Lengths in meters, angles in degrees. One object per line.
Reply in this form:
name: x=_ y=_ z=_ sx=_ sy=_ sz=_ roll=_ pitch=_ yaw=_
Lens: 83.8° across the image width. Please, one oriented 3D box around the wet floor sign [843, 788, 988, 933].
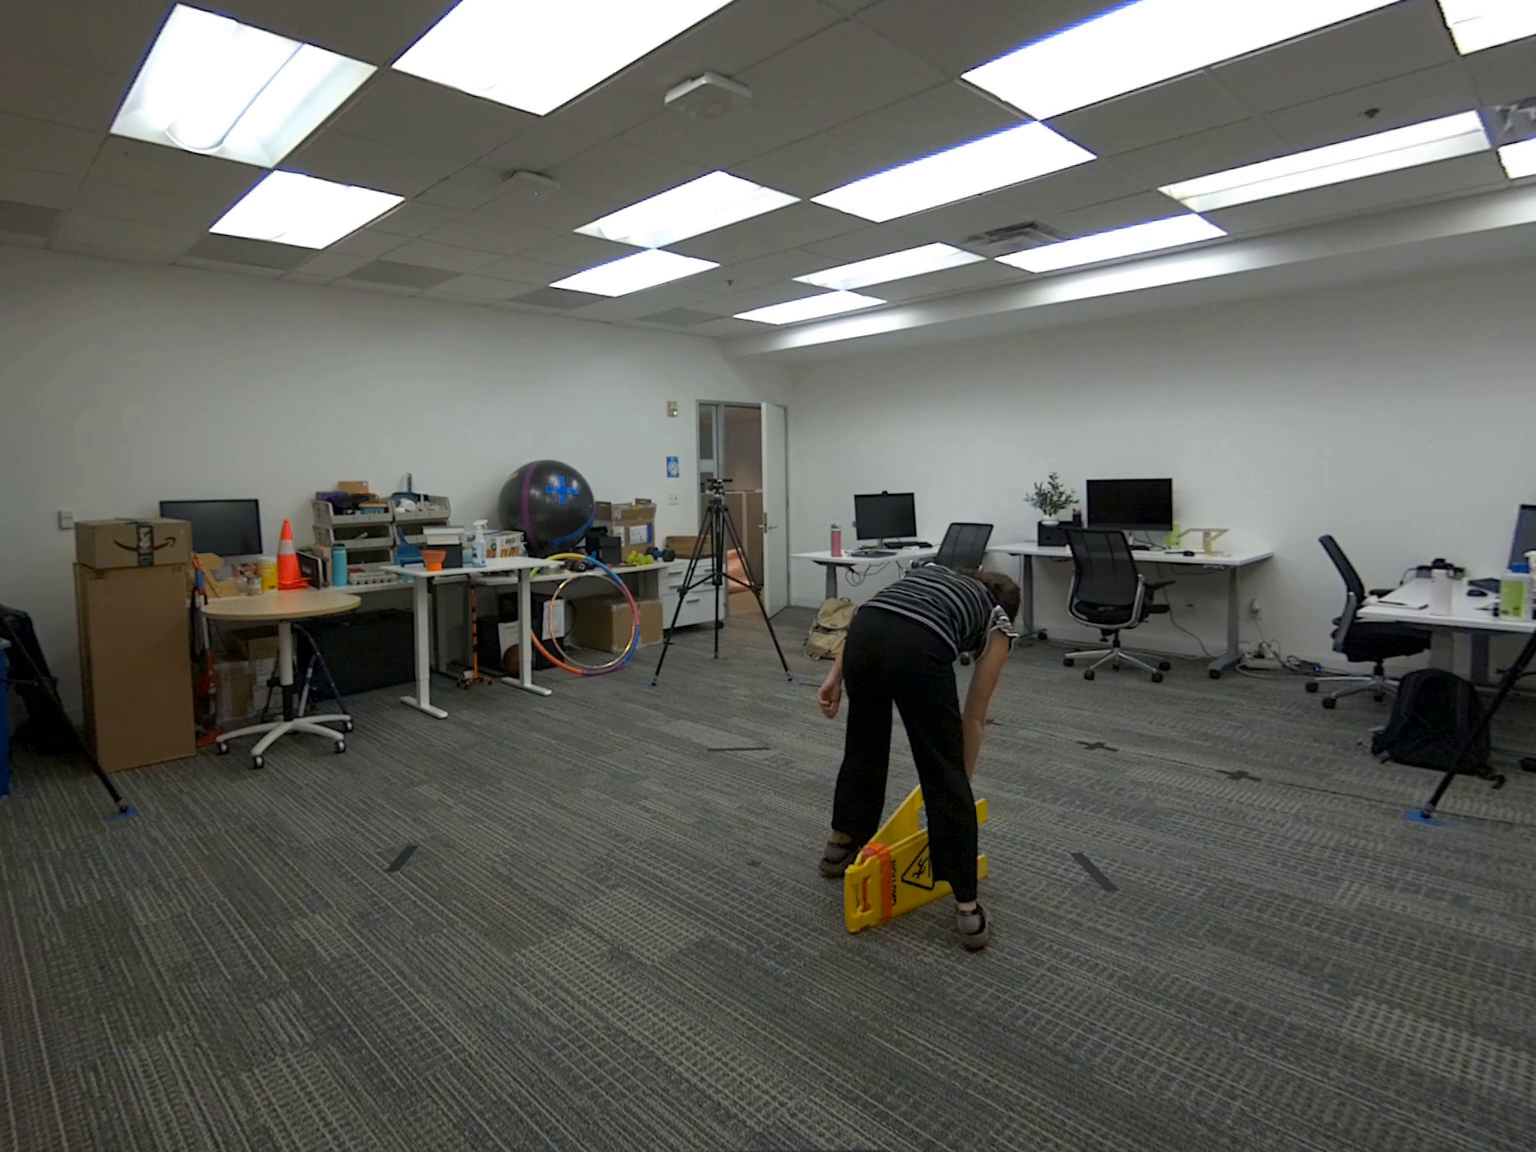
wet floor sign: x=0.461 y=0.944 z=2.819 sx=0.299 sy=0.280 sz=0.631 roll=5 pitch=11 yaw=42
